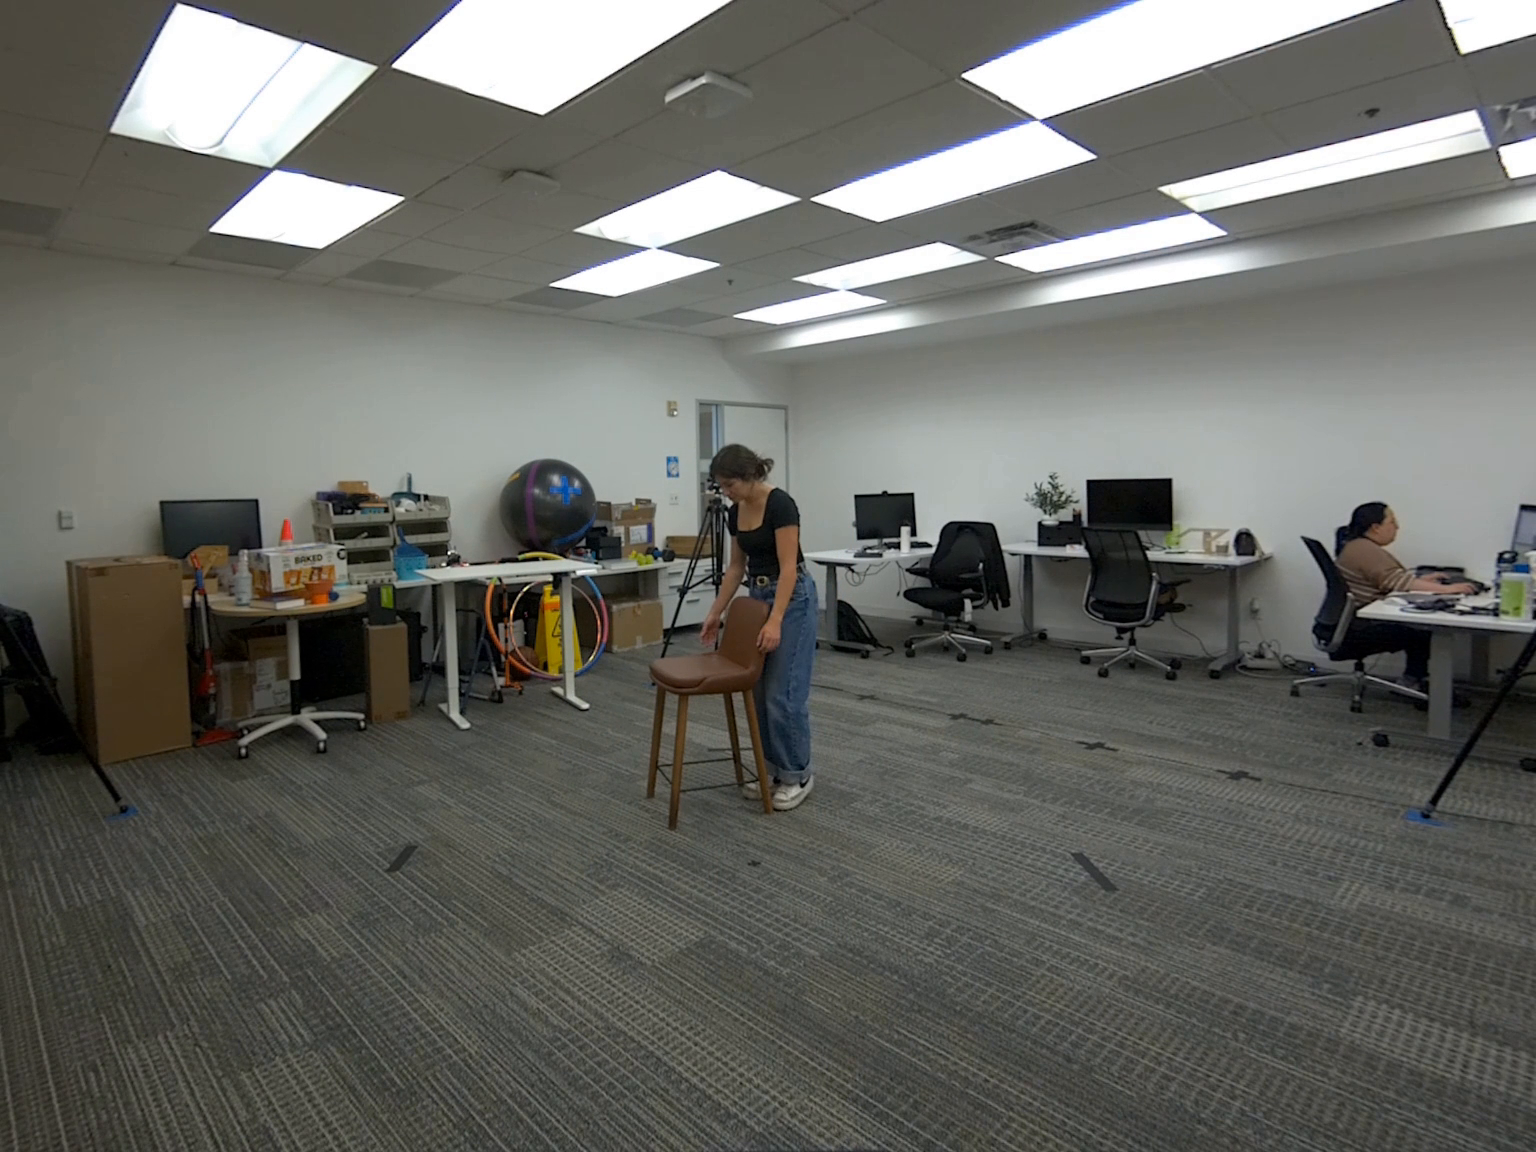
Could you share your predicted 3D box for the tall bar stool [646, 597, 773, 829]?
[{"bbox_3d":[-0.258,0.549,3.649,0.459,0.887,0.466,0,3,-21],"label":"tall bar stool"}]
